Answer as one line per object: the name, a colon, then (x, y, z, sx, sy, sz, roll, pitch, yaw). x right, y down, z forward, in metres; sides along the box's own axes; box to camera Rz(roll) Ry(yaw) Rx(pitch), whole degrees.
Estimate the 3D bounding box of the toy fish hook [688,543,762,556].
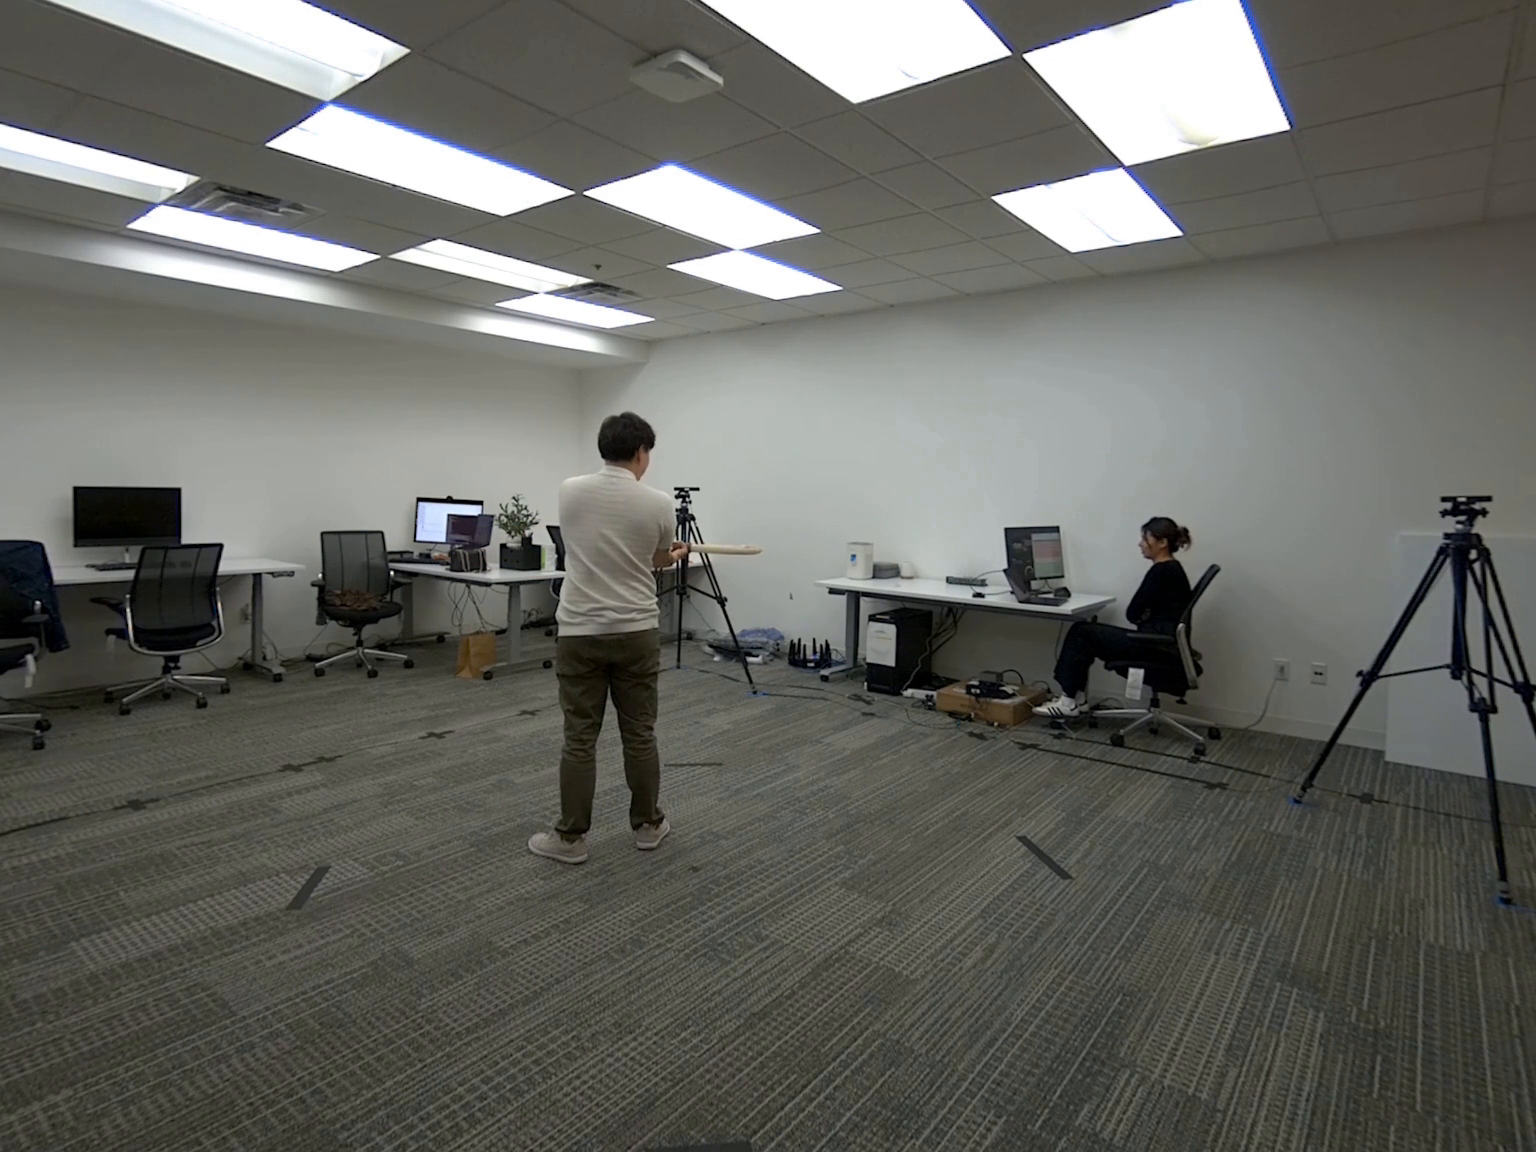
toy fish hook: (-0.310, -0.125, 3.724, 0.507, 0.048, 0.225, 4, 4, 0)
